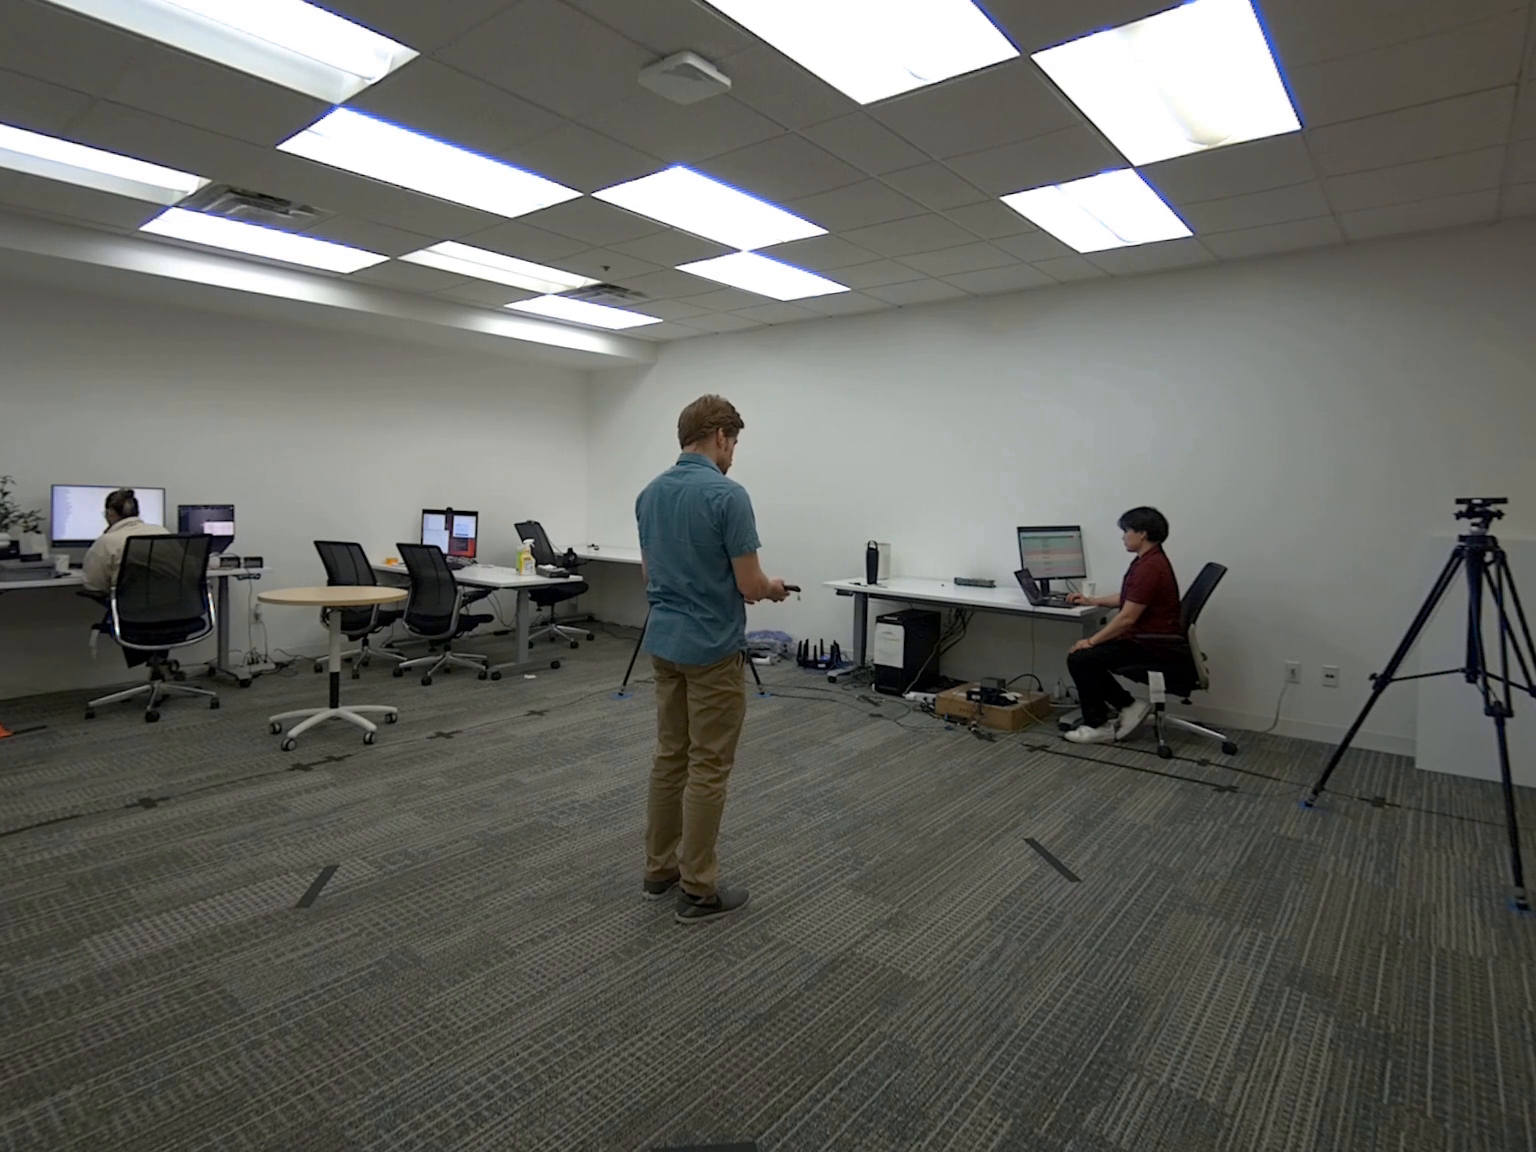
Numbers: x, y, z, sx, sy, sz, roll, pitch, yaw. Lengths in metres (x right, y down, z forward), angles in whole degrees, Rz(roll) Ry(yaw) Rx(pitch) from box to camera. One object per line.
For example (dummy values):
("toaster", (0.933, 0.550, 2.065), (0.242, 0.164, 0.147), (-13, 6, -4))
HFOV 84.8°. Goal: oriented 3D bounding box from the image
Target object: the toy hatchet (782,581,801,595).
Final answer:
("toy hatchet", (0.044, 0.062, 3.113), (0.126, 0.030, 0.278), (27, -15, -34))
